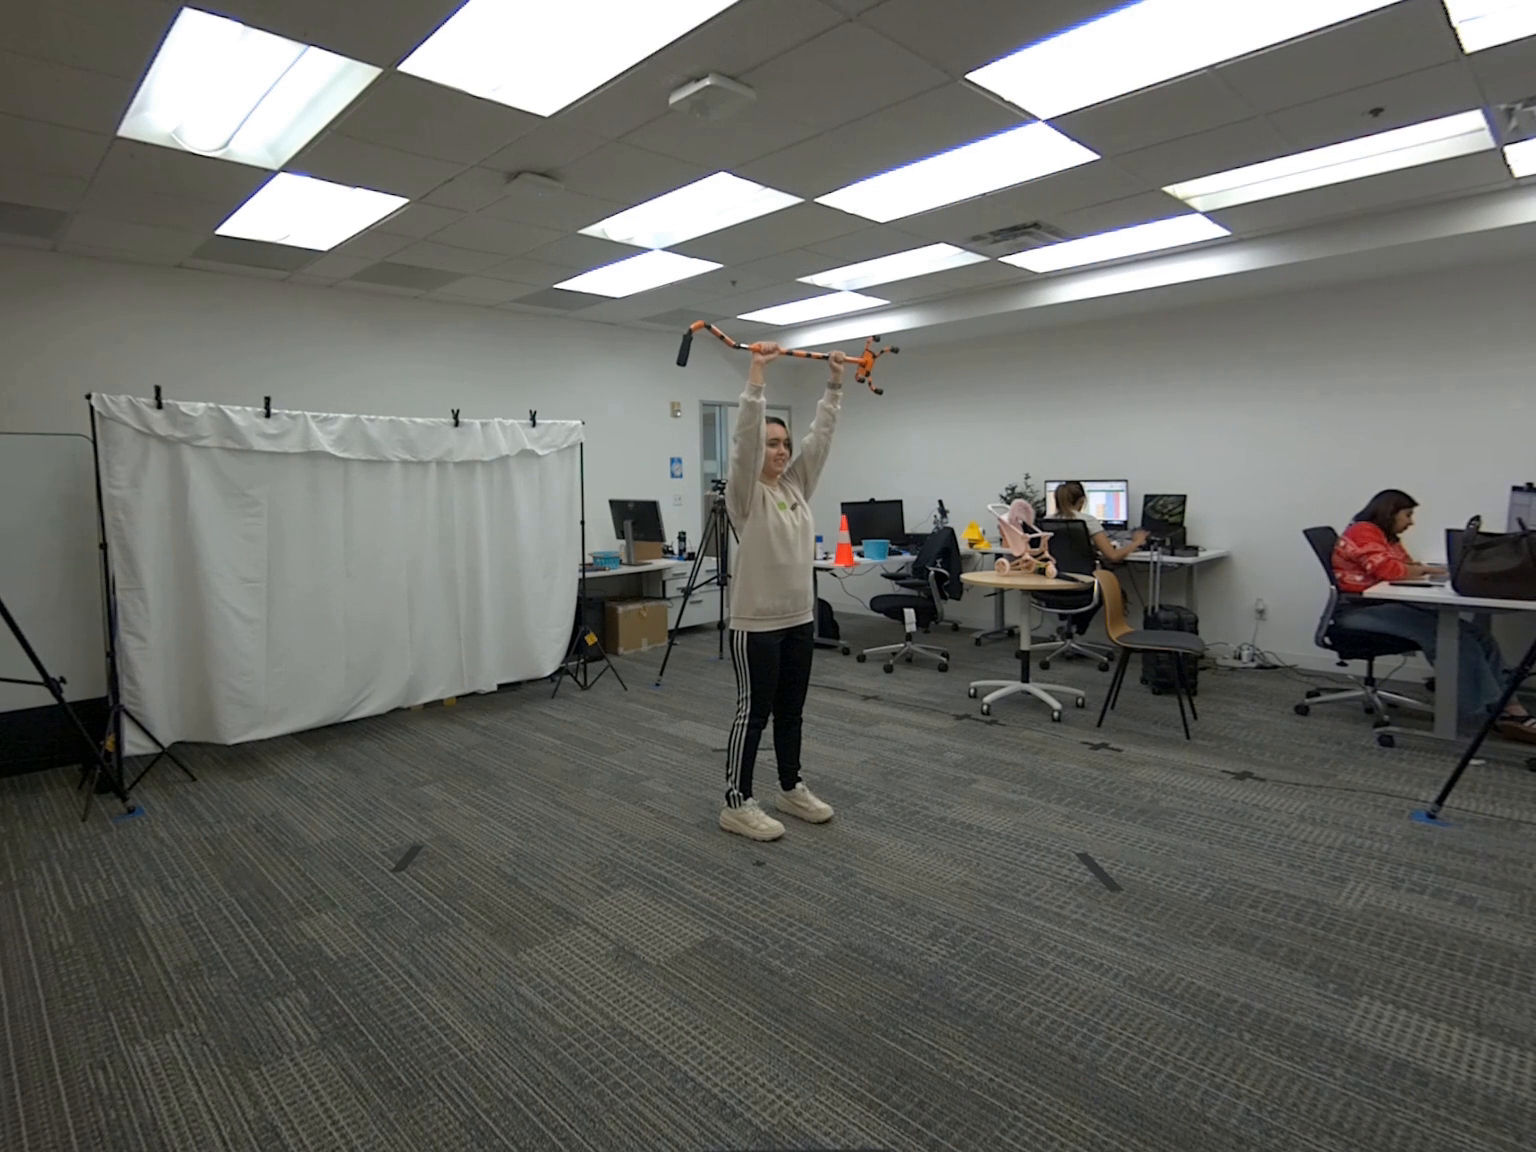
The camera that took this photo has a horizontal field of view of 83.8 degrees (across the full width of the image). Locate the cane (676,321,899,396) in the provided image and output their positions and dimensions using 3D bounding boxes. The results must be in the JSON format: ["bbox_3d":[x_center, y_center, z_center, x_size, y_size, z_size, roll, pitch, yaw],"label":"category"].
[{"bbox_3d":[0.081,-0.828,3.184,0.885,0.203,0.158,-3,32,-34],"label":"cane"}]
